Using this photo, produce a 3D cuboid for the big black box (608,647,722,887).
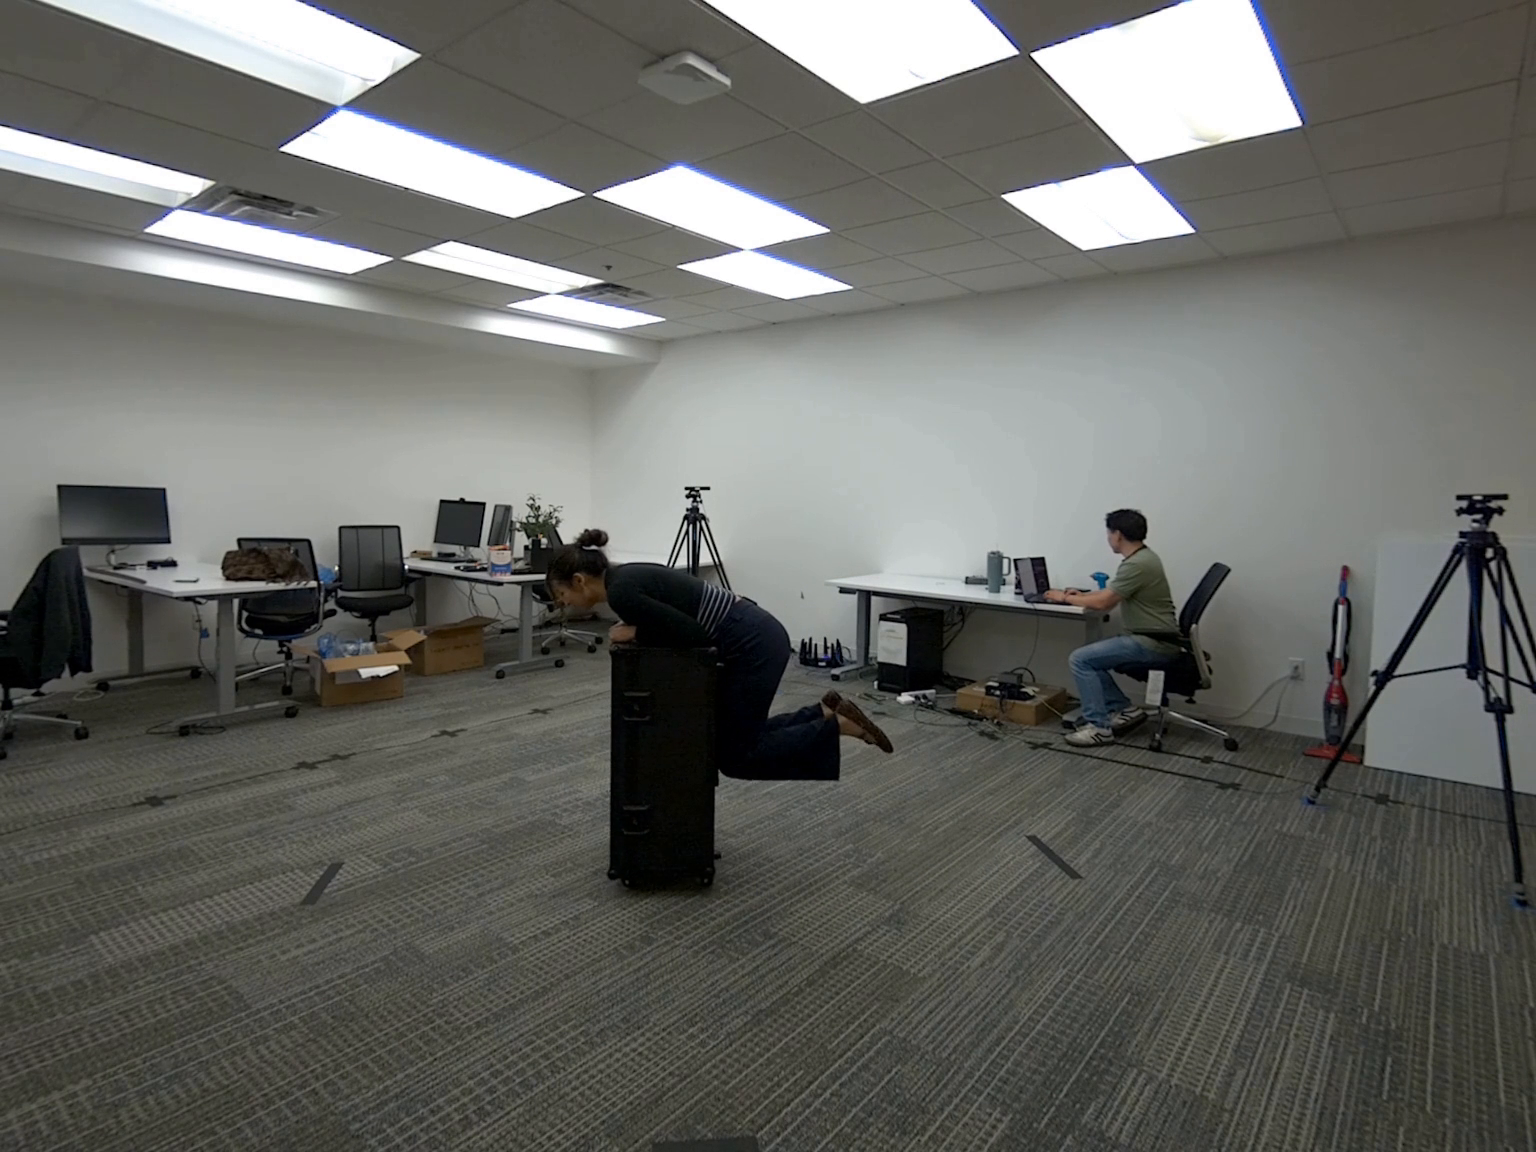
[{"bbox_3d":[-0.375,0.644,3.091,0.394,0.859,0.526,2,3,-6],"label":"big black box"}]
